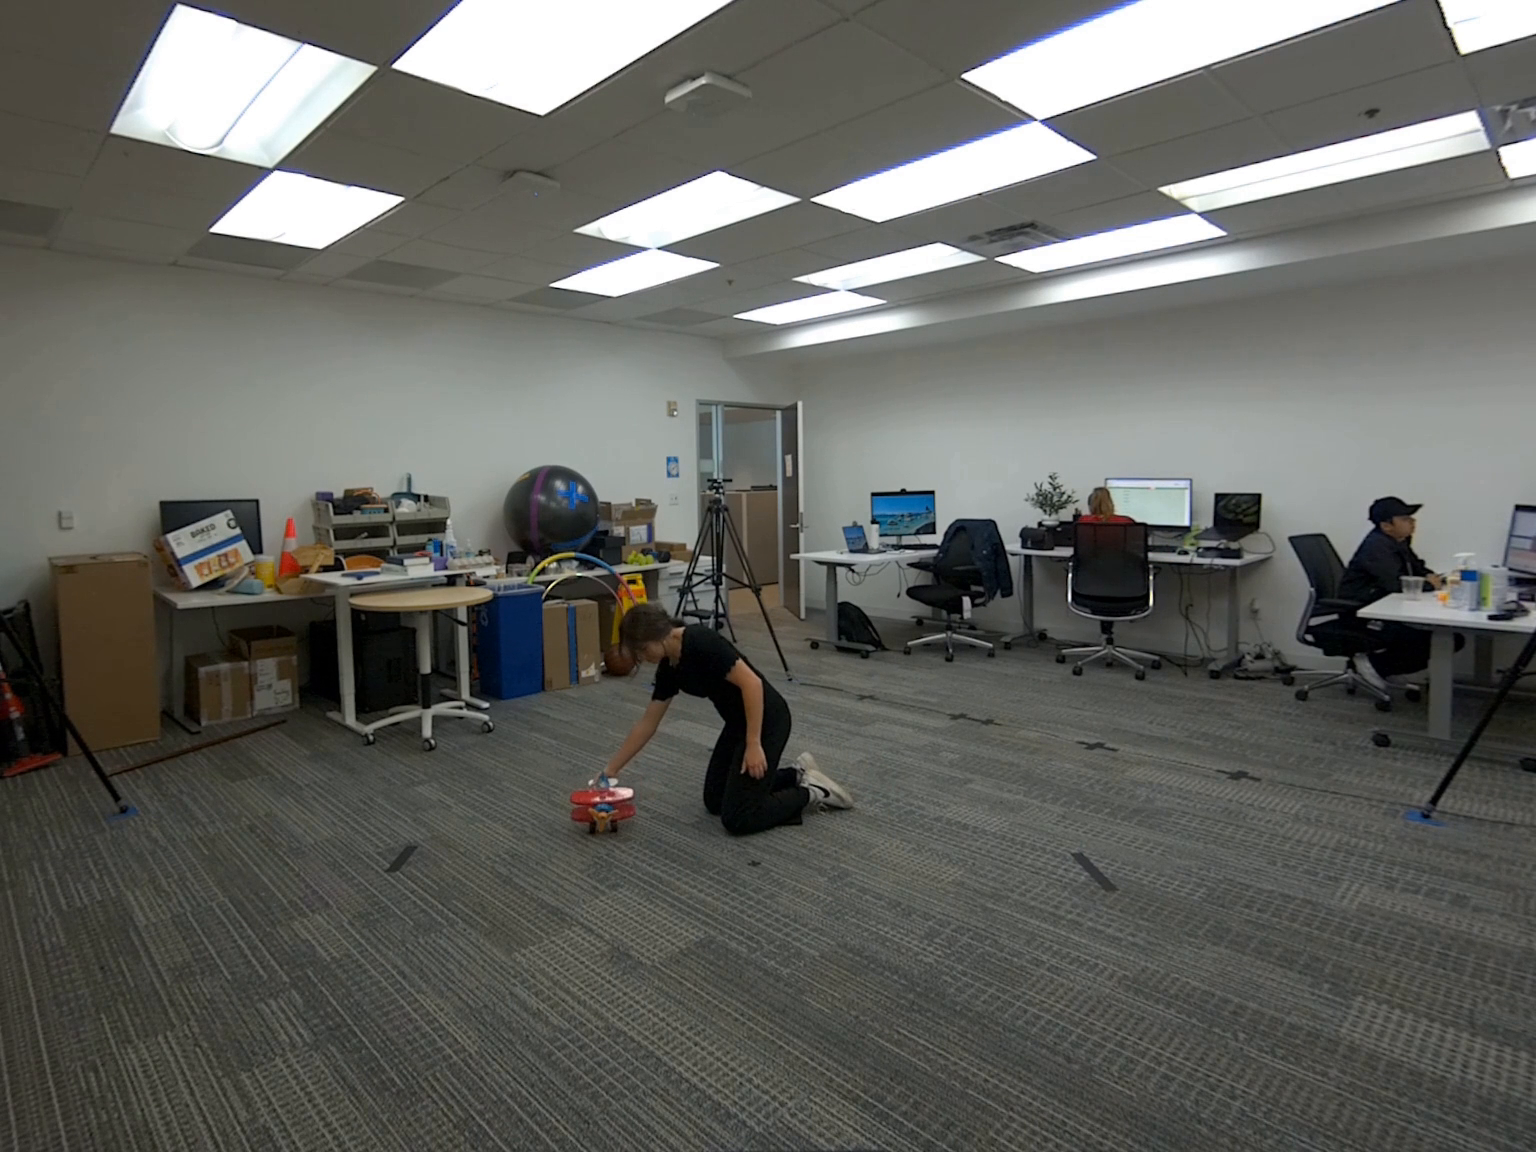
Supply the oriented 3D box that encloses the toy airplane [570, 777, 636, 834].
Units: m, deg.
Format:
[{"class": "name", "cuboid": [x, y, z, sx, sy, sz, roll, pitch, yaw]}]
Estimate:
[{"class": "toy airplane", "cuboid": [-0.687, 0.912, 3.446, 0.247, 0.153, 0.269, -19, 42, -30]}]
